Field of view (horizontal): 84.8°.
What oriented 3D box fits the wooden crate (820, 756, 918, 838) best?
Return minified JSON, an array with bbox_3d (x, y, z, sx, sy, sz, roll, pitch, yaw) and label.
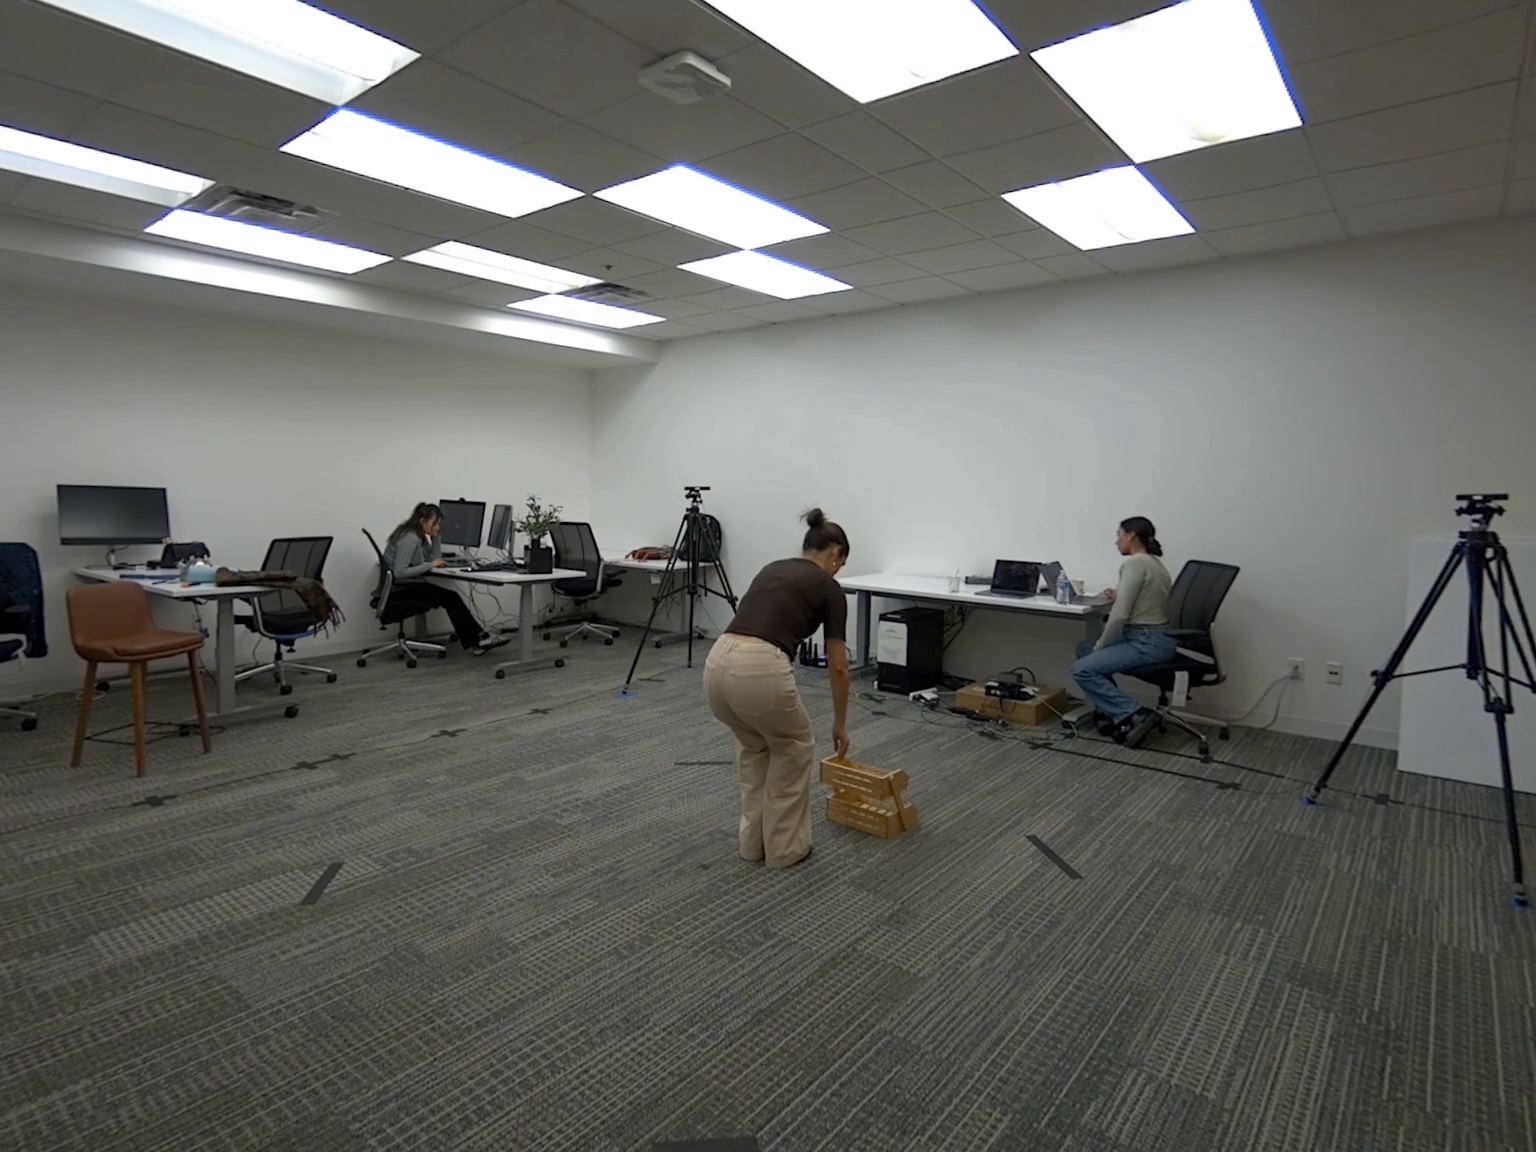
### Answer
[{"bbox_3d":[0.419,0.898,3.568,0.335,0.272,0.293,5,7,40],"label":"wooden crate"}]
